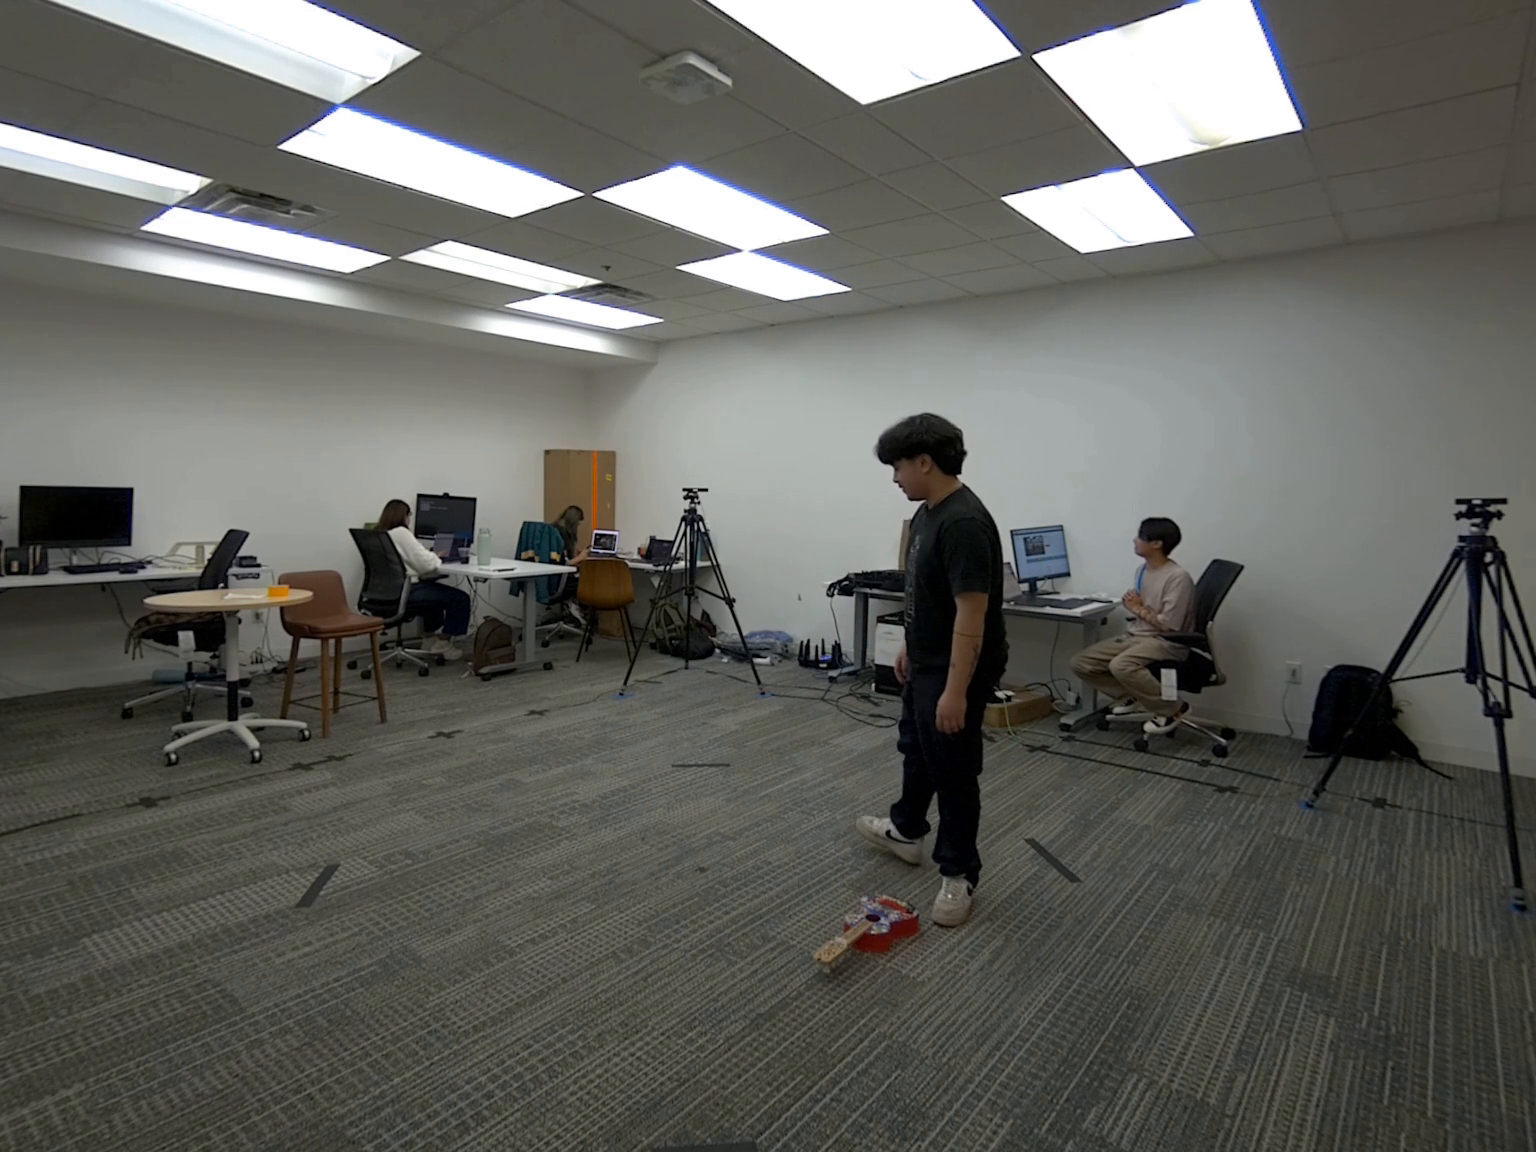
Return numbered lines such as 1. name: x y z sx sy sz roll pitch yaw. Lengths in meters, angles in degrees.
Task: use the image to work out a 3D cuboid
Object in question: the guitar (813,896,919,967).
1. guitar: 0.263 1.090 2.630 0.482 0.070 0.200 -3 8 -45
